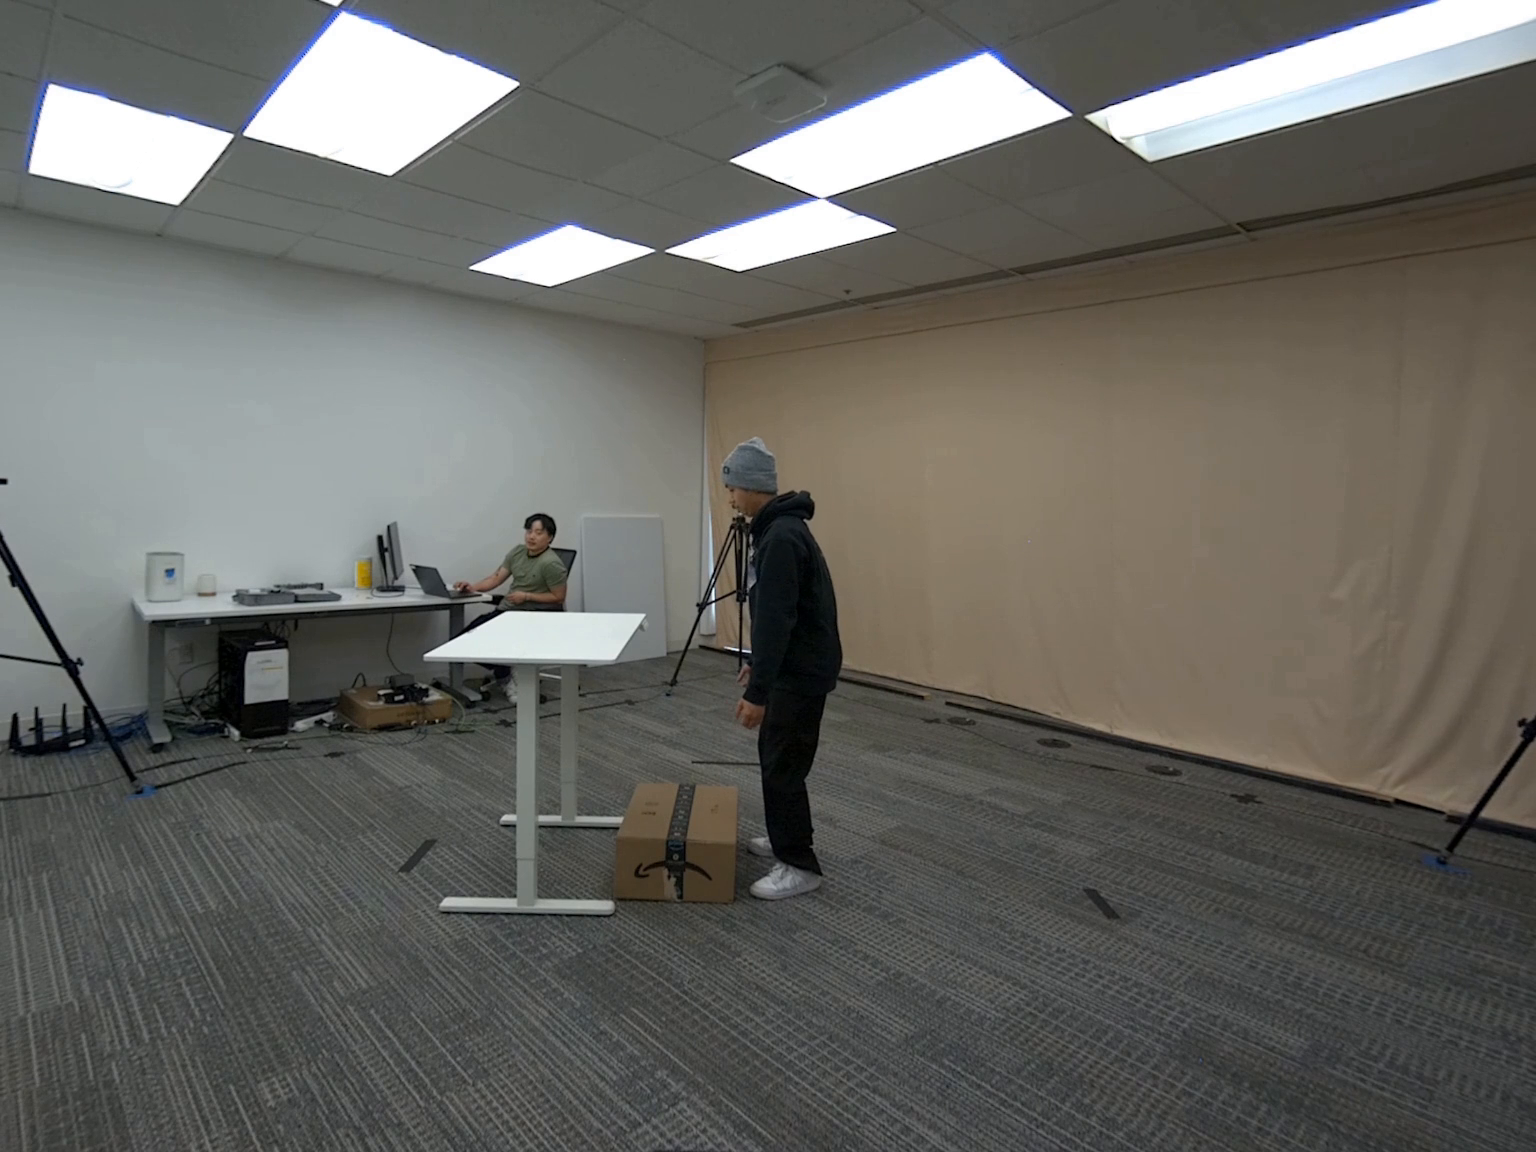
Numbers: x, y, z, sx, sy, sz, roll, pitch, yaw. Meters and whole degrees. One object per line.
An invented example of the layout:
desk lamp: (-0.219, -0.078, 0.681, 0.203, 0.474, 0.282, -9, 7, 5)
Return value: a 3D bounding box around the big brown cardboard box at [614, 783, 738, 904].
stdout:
big brown cardboard box: (-0.329, 0.983, 3.167, 0.418, 0.232, 0.590, 2, 4, 0)
